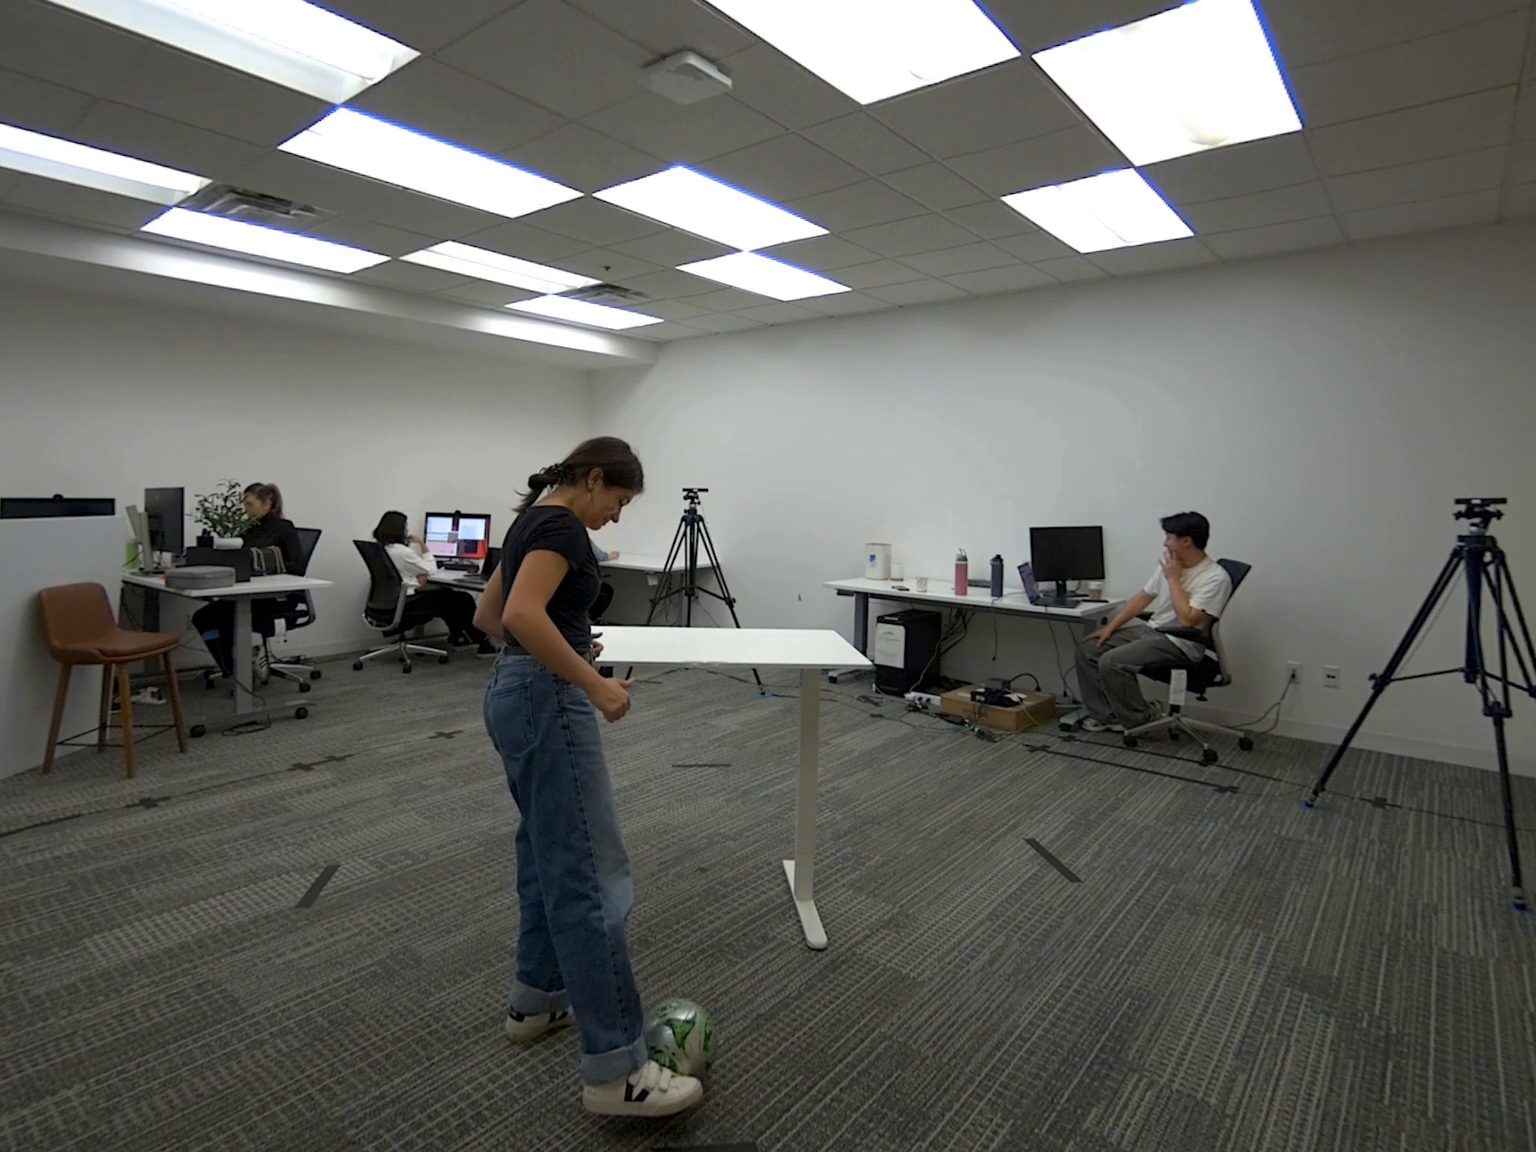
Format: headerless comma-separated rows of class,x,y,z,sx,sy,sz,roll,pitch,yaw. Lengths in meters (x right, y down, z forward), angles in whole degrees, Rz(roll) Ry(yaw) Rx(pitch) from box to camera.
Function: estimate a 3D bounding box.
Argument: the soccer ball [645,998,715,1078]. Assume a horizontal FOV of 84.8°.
soccer ball,-0.206,1.094,1.987,0.187,0.187,0.188,1,4,-2
